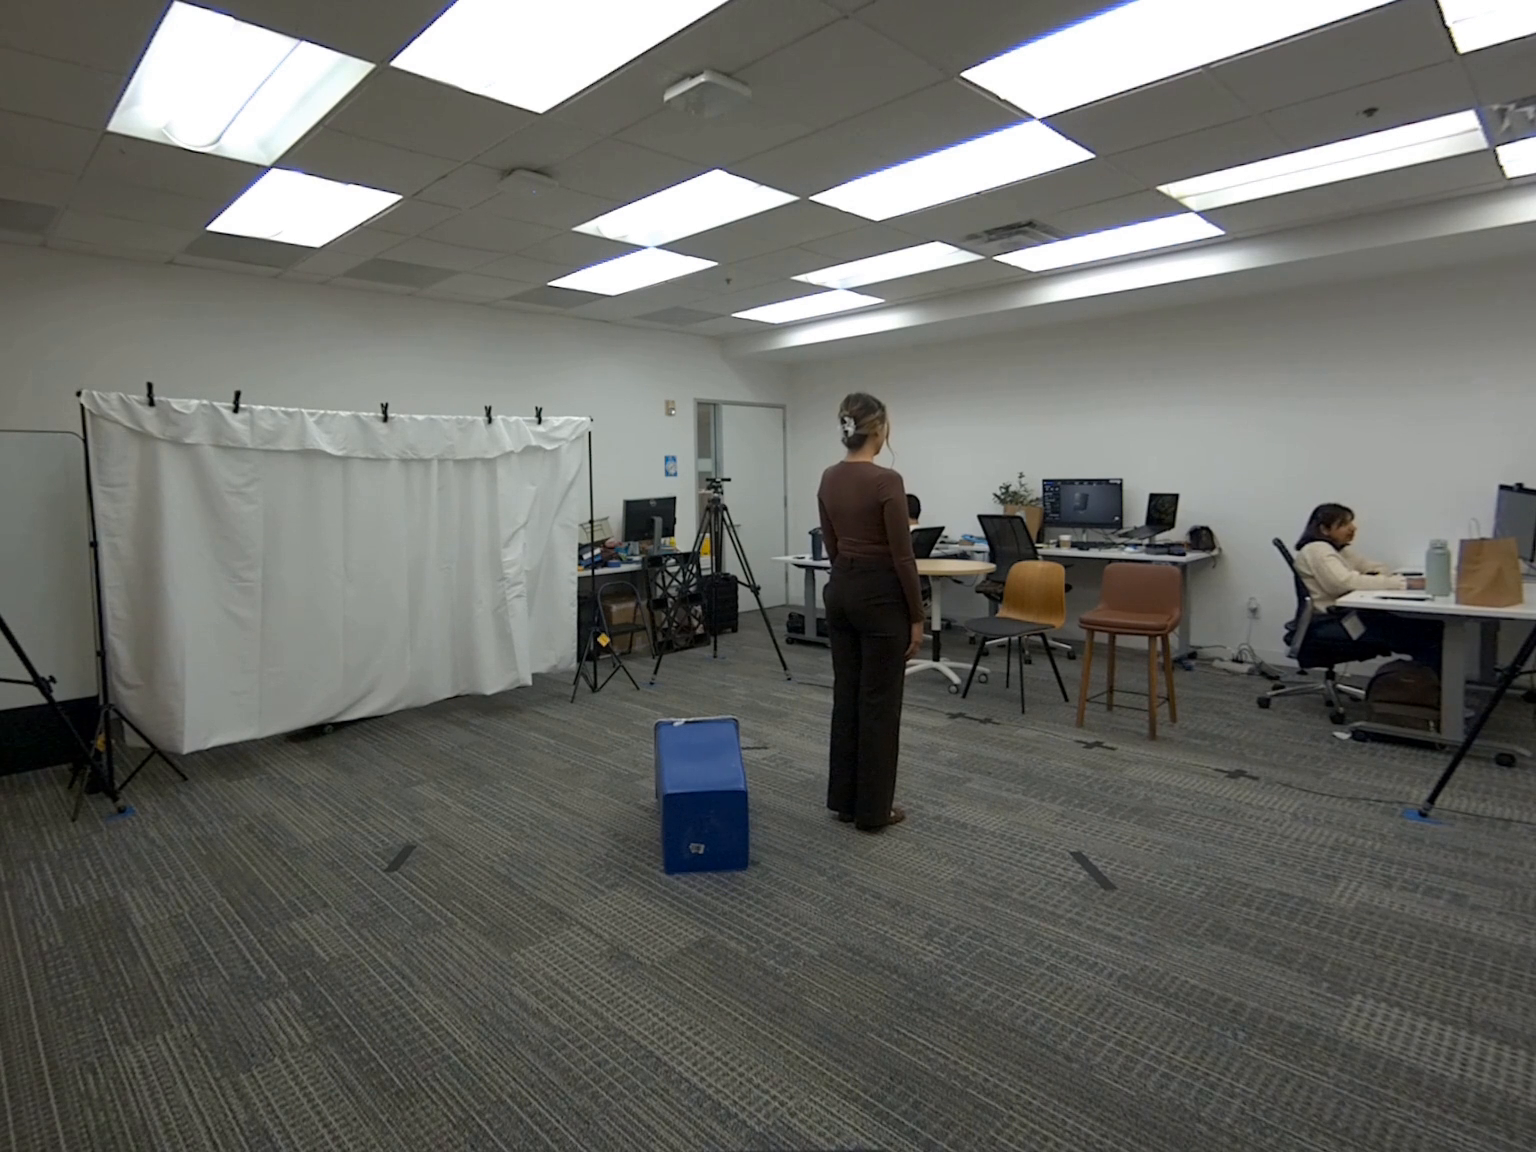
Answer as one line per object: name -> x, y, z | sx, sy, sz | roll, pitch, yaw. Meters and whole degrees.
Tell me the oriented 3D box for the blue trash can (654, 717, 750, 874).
blue trash can -> -0.259, 0.854, 3.370 | 0.372, 0.375, 0.723 | -1, 8, -8
